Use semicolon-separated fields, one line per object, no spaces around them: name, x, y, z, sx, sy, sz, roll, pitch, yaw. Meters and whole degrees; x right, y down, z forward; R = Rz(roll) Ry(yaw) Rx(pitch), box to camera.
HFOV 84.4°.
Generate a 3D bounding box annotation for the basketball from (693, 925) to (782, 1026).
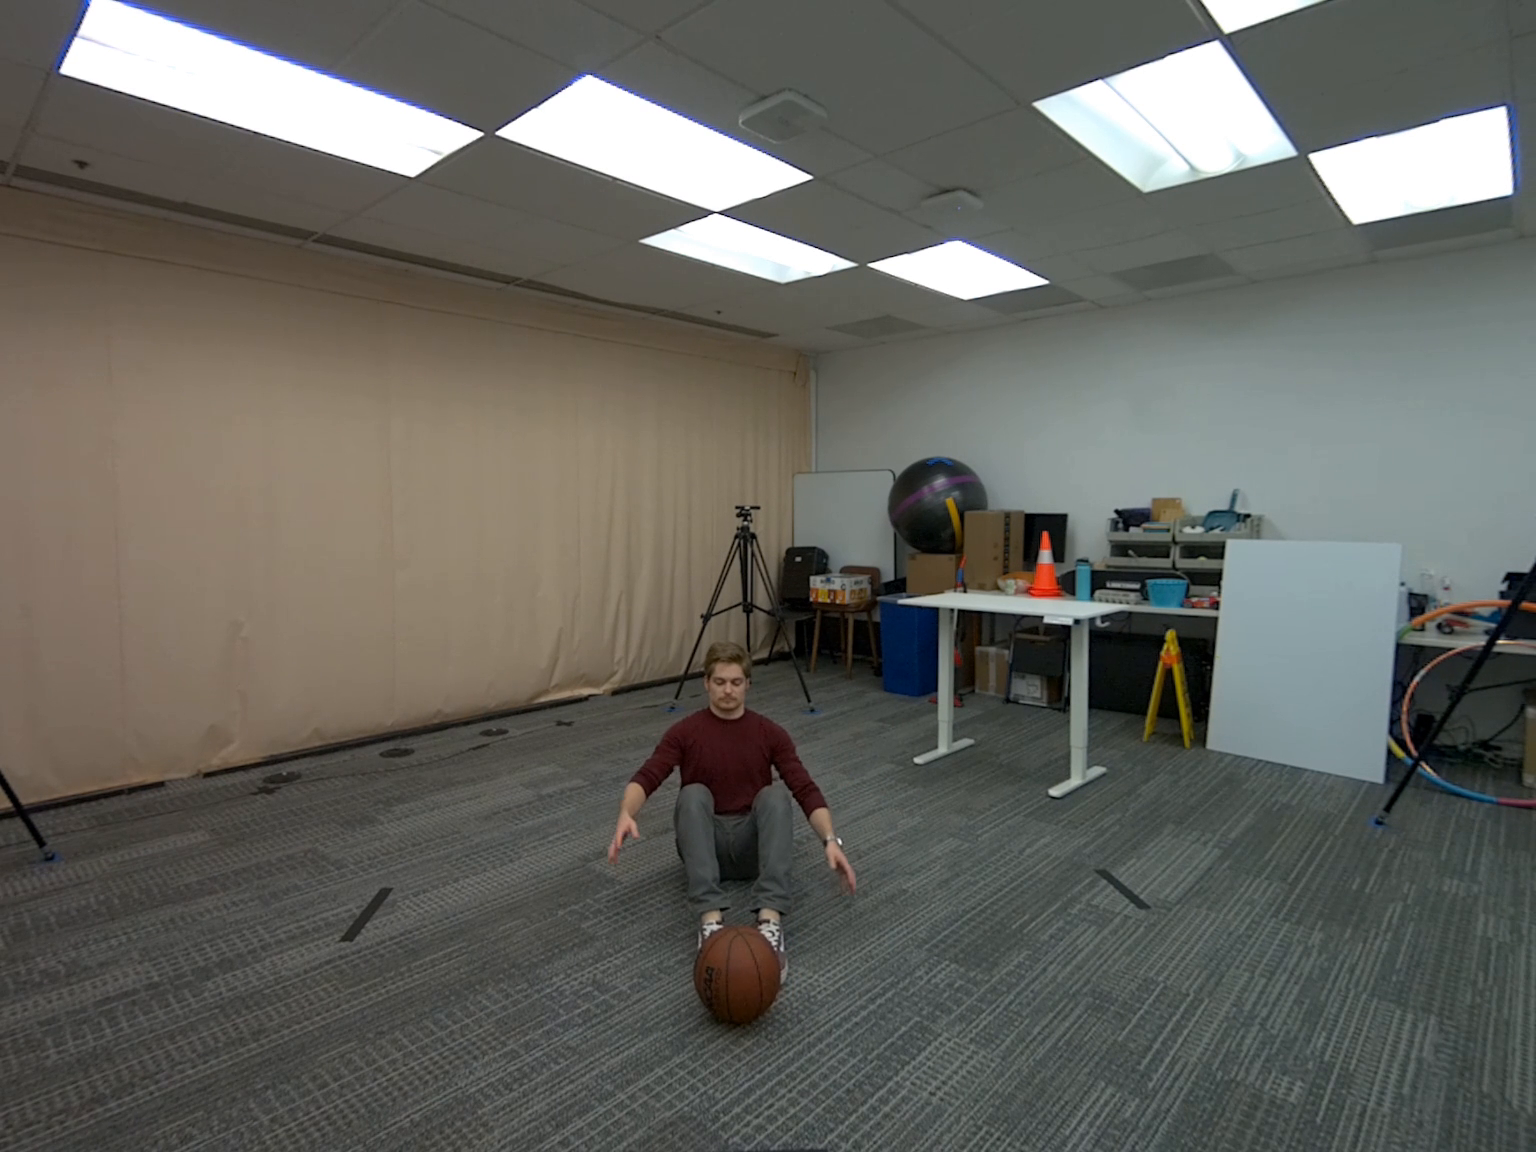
basketball;-0.086;1.077;2.298;0.236;0.235;0.237;0;4;-2
